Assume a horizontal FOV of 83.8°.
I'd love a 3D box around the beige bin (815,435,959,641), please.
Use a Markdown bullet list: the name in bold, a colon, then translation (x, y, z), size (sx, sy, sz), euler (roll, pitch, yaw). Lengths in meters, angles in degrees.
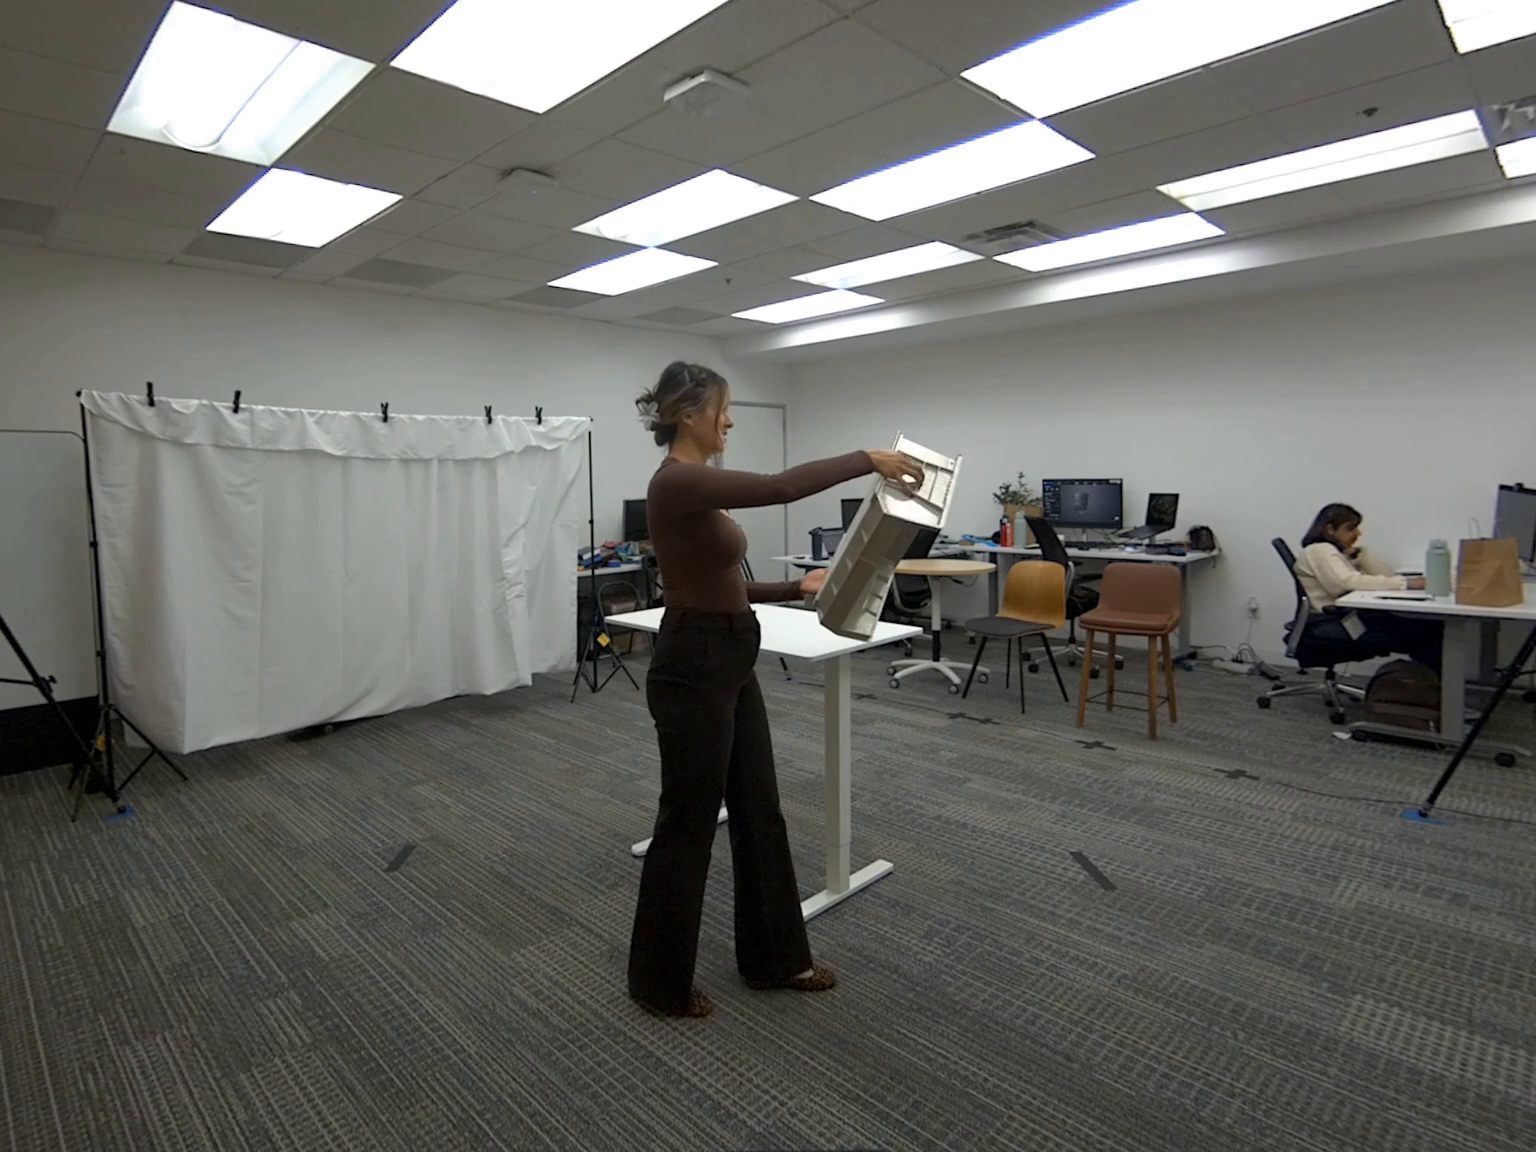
- **beige bin**: translation (0.306, -0.097, 2.221), size (0.189, 0.416, 0.381), euler (25, 41, 1)
